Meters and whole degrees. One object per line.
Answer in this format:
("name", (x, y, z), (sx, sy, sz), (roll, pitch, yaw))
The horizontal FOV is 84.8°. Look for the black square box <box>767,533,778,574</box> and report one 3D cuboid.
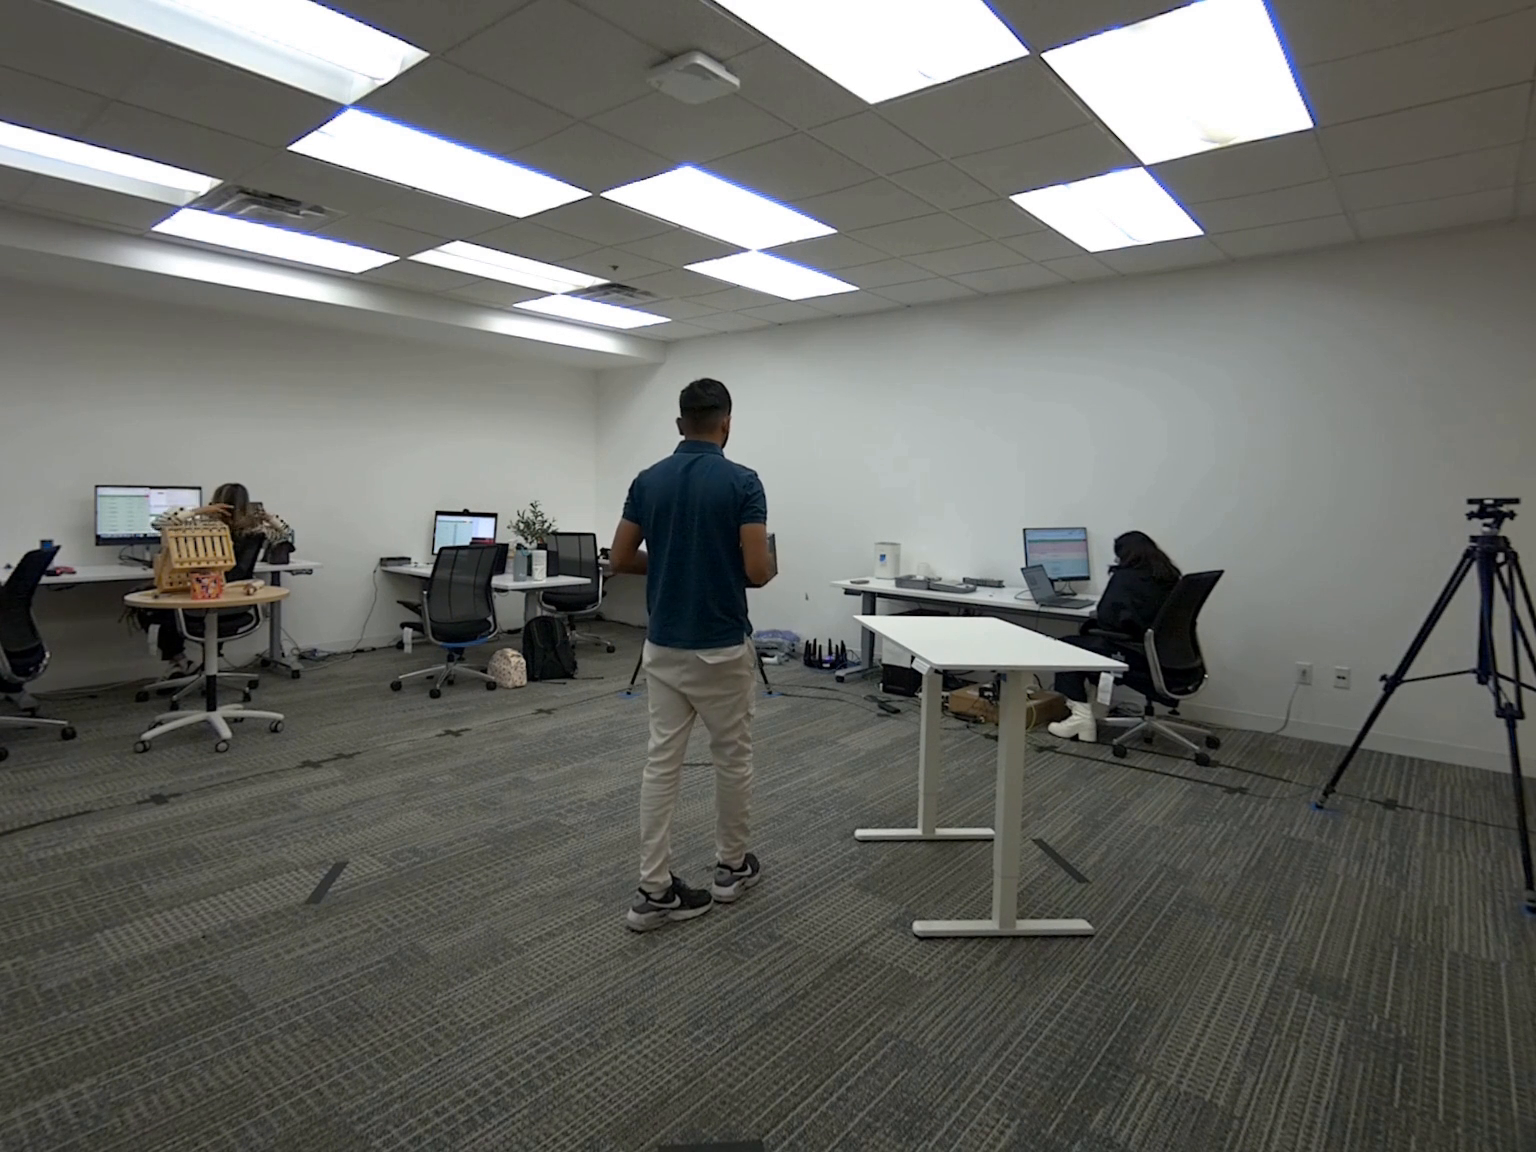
("black square box", (-0.113, -0.064, 3.105), (0.221, 0.154, 0.226), (0, 14, 18))
